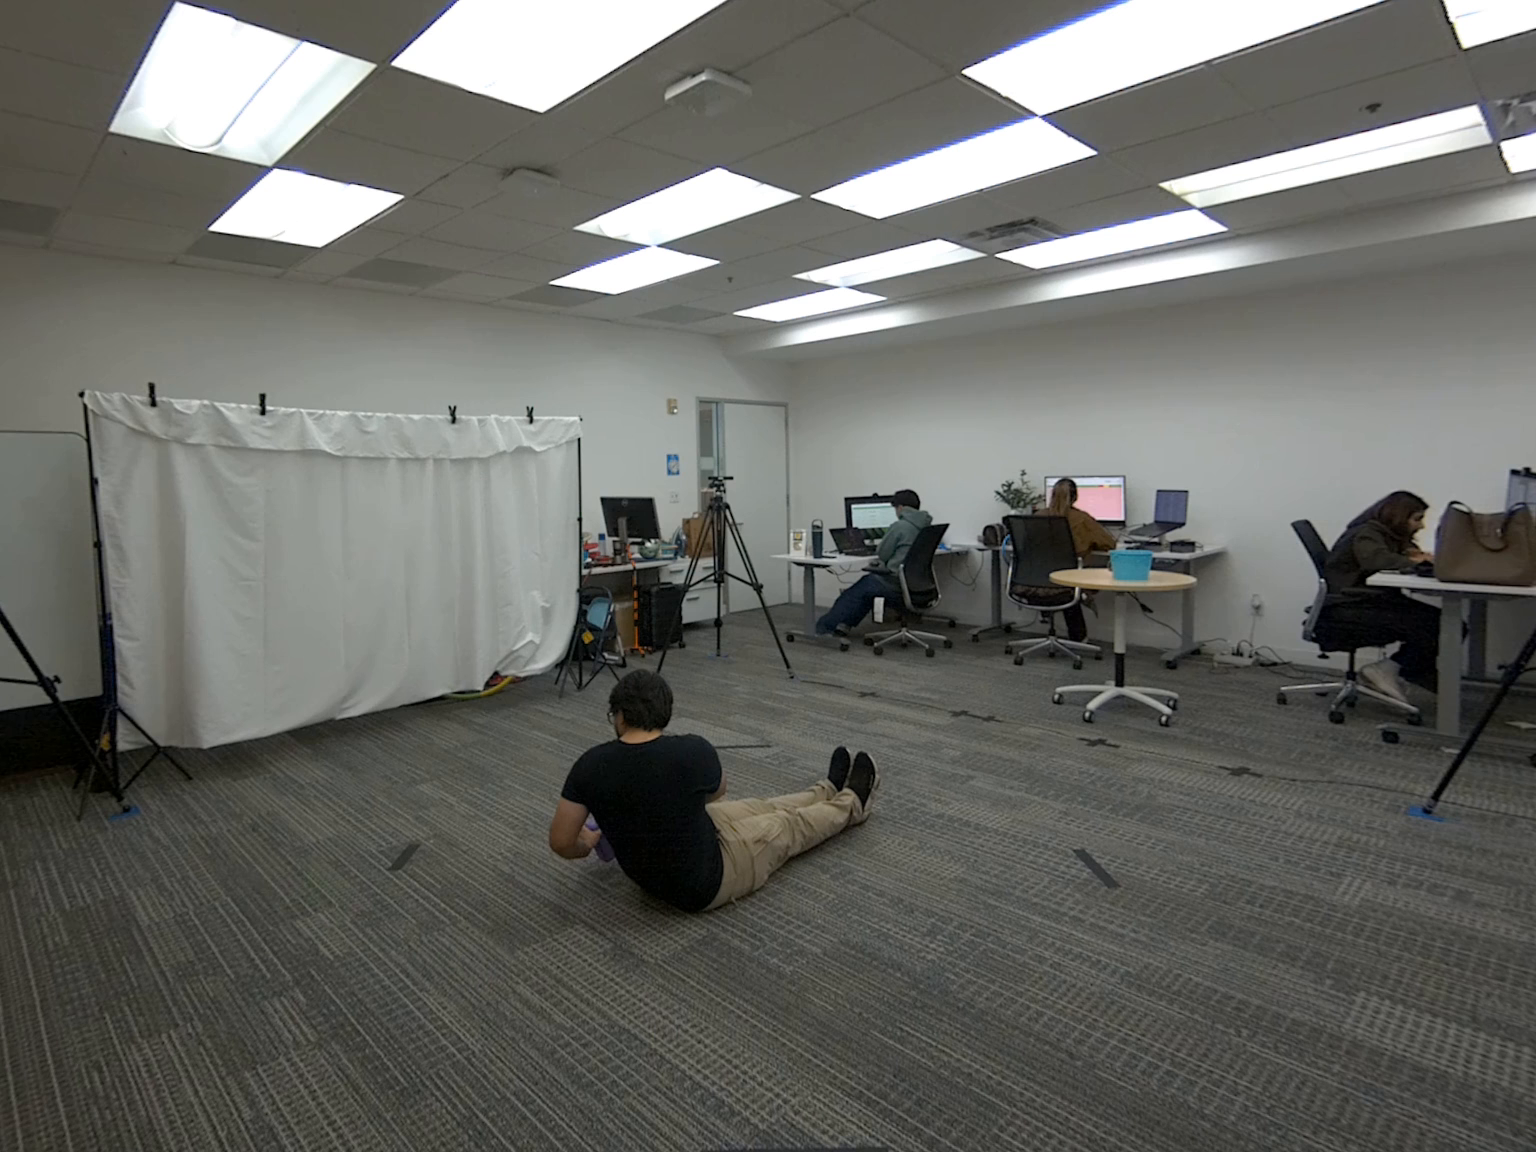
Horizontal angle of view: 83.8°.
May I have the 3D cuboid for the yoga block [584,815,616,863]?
[{"bbox_3d":[-0.529,0.914,3.079,0.227,0.149,0.077,-19,0,-15],"label":"yoga block"}]
